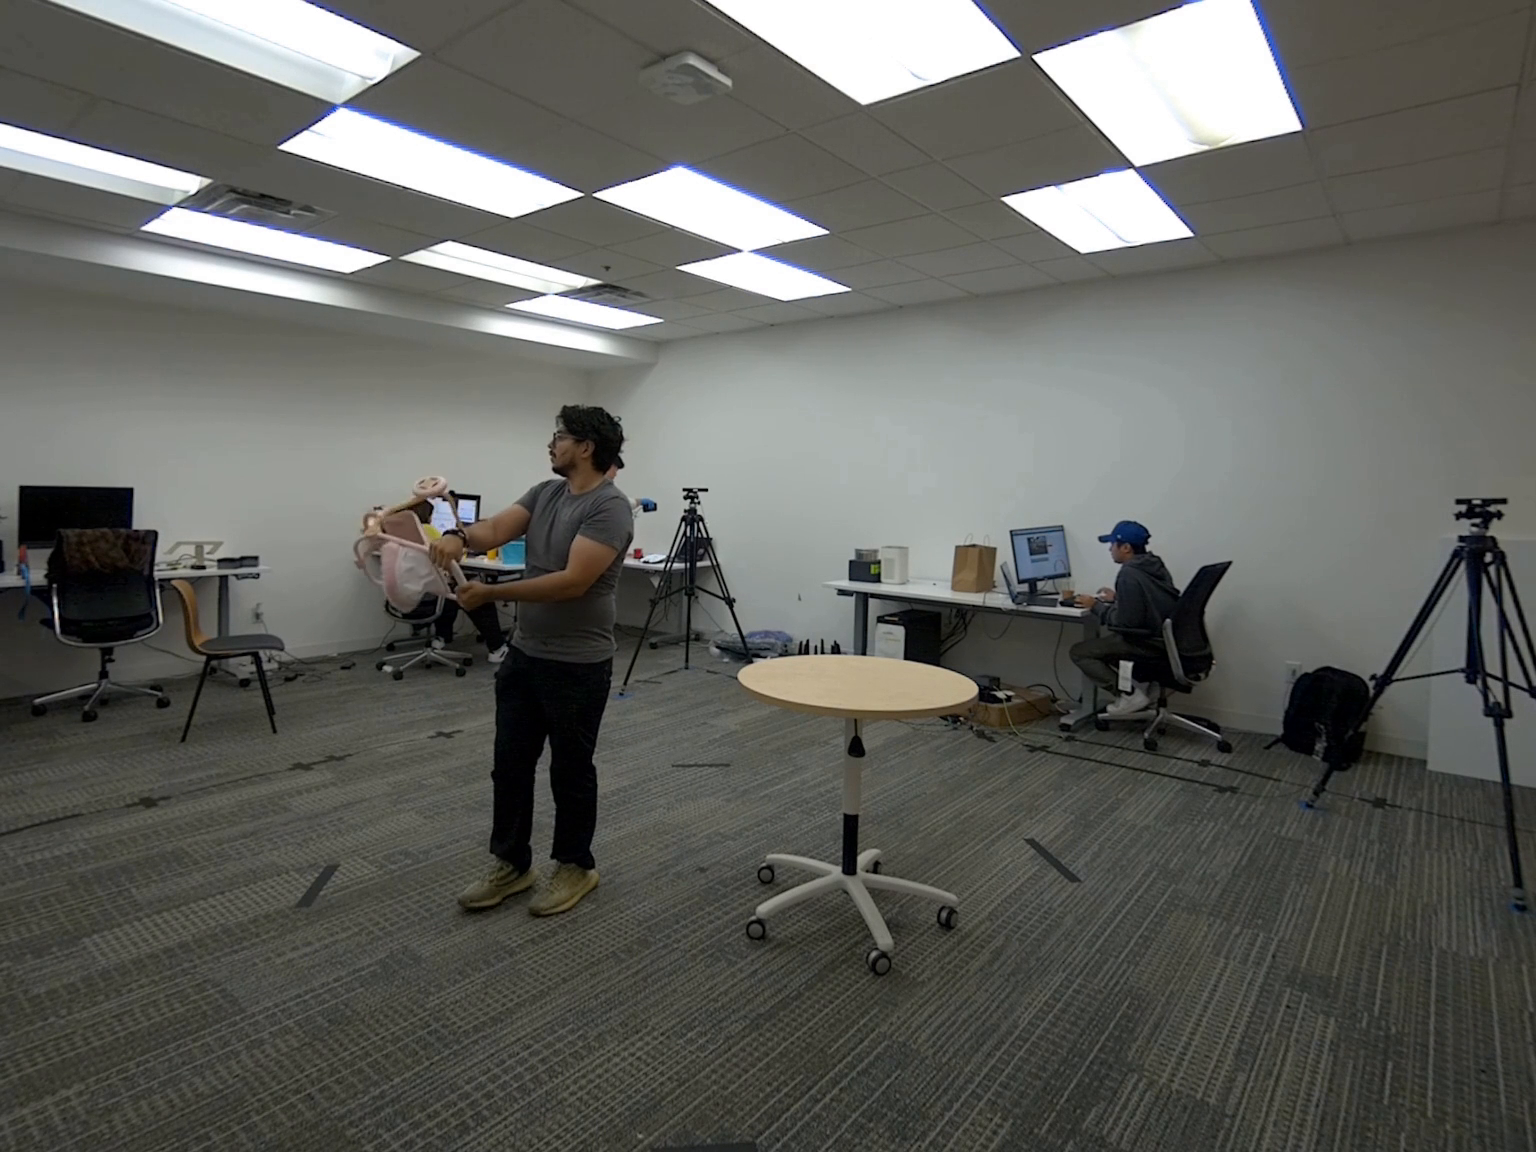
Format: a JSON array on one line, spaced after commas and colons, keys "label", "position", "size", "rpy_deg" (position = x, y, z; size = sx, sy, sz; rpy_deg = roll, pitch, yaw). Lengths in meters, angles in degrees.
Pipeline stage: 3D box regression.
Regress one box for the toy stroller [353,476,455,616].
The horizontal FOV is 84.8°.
[{"label": "toy stroller", "position": [-1.141, -0.071, 2.673], "size": [0.338, 0.273, 0.556], "rpy_deg": [-14, 38, -11]}]
